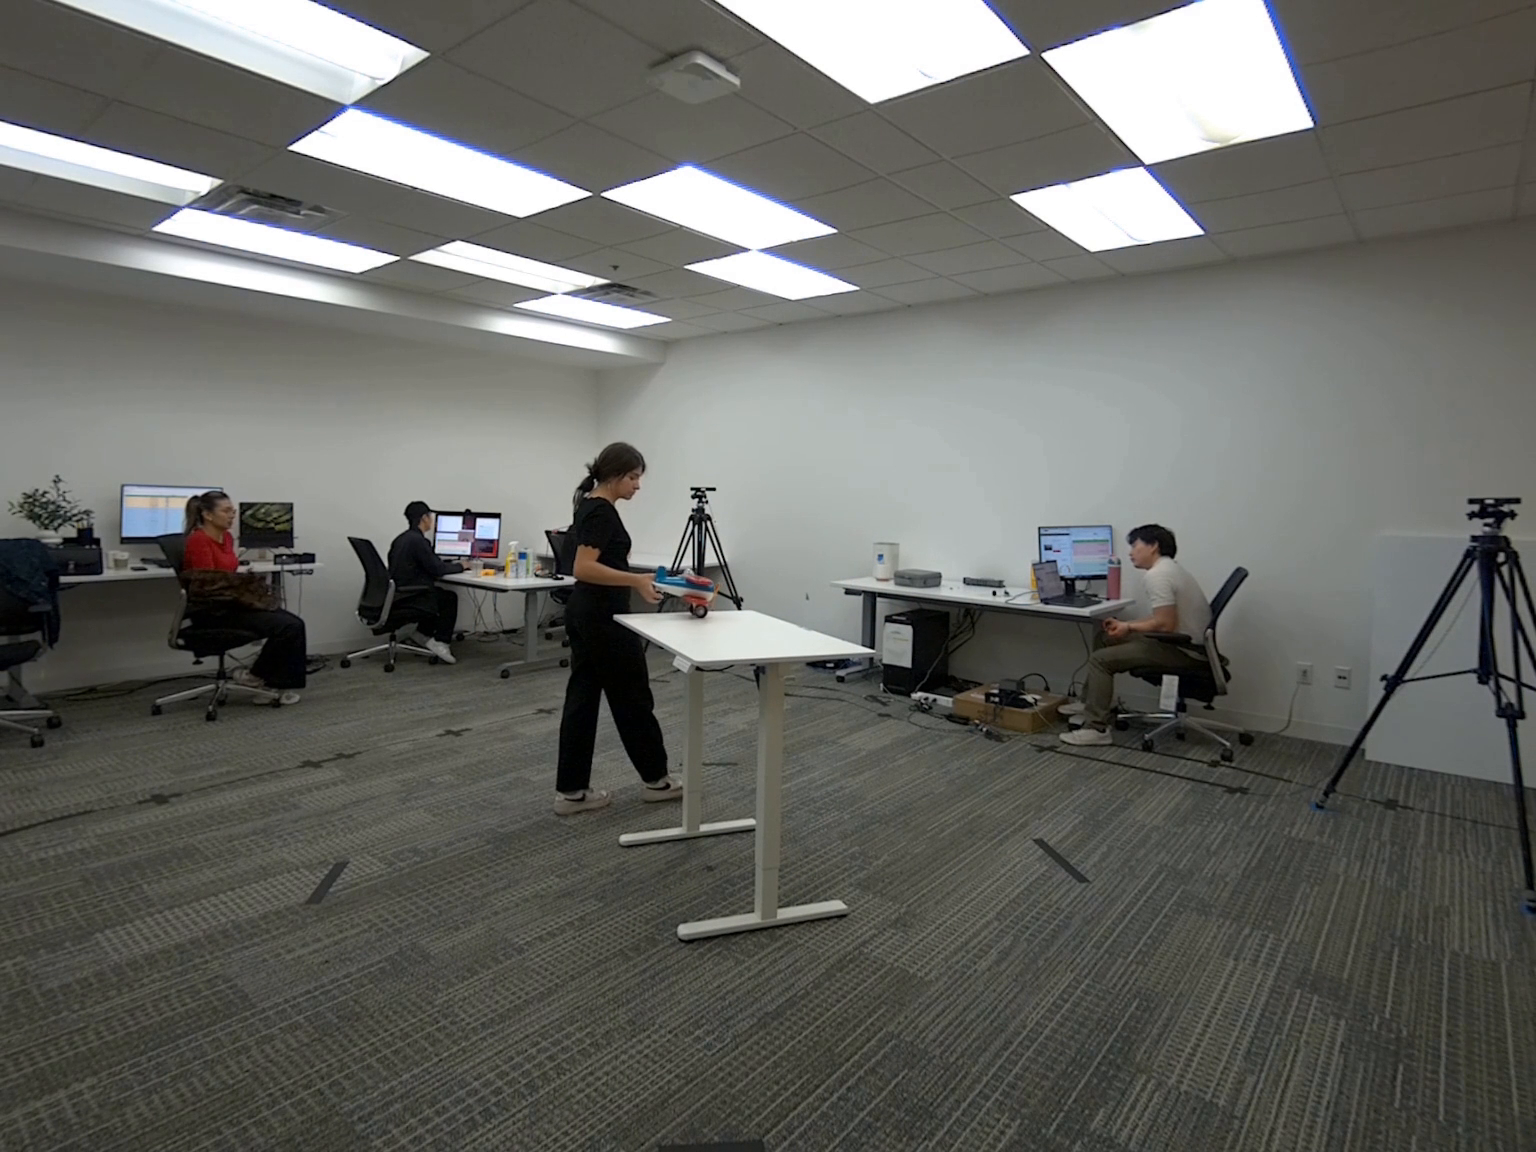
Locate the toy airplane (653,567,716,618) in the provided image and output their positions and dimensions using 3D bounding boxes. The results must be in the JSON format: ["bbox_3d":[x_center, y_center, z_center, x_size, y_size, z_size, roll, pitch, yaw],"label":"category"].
[{"bbox_3d":[-0.340,0.056,3.349,0.249,0.157,0.261,27,-4,-43],"label":"toy airplane"}]
